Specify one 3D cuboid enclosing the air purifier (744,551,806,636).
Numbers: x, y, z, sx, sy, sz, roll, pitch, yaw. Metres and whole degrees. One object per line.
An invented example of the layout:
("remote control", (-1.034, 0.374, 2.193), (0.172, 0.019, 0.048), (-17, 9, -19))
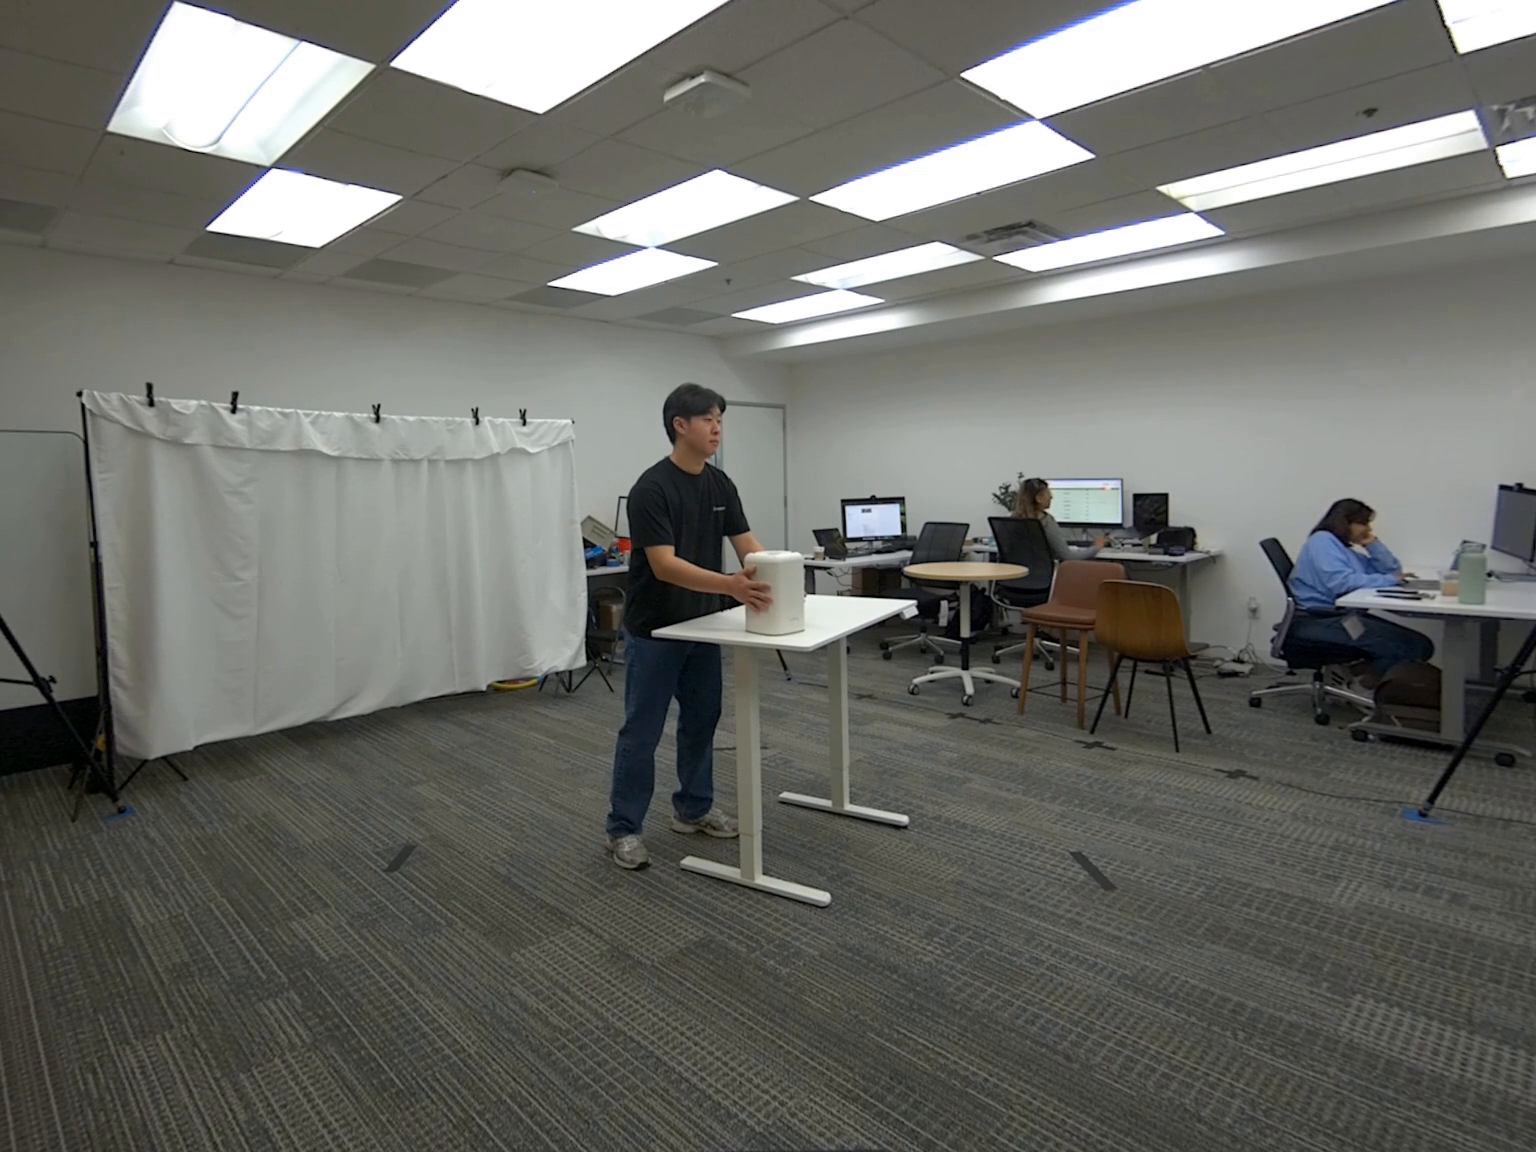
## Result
("air purifier", (0.024, 0.053, 2.878), (0.177, 0.264, 0.166), (4, 7, 44))
